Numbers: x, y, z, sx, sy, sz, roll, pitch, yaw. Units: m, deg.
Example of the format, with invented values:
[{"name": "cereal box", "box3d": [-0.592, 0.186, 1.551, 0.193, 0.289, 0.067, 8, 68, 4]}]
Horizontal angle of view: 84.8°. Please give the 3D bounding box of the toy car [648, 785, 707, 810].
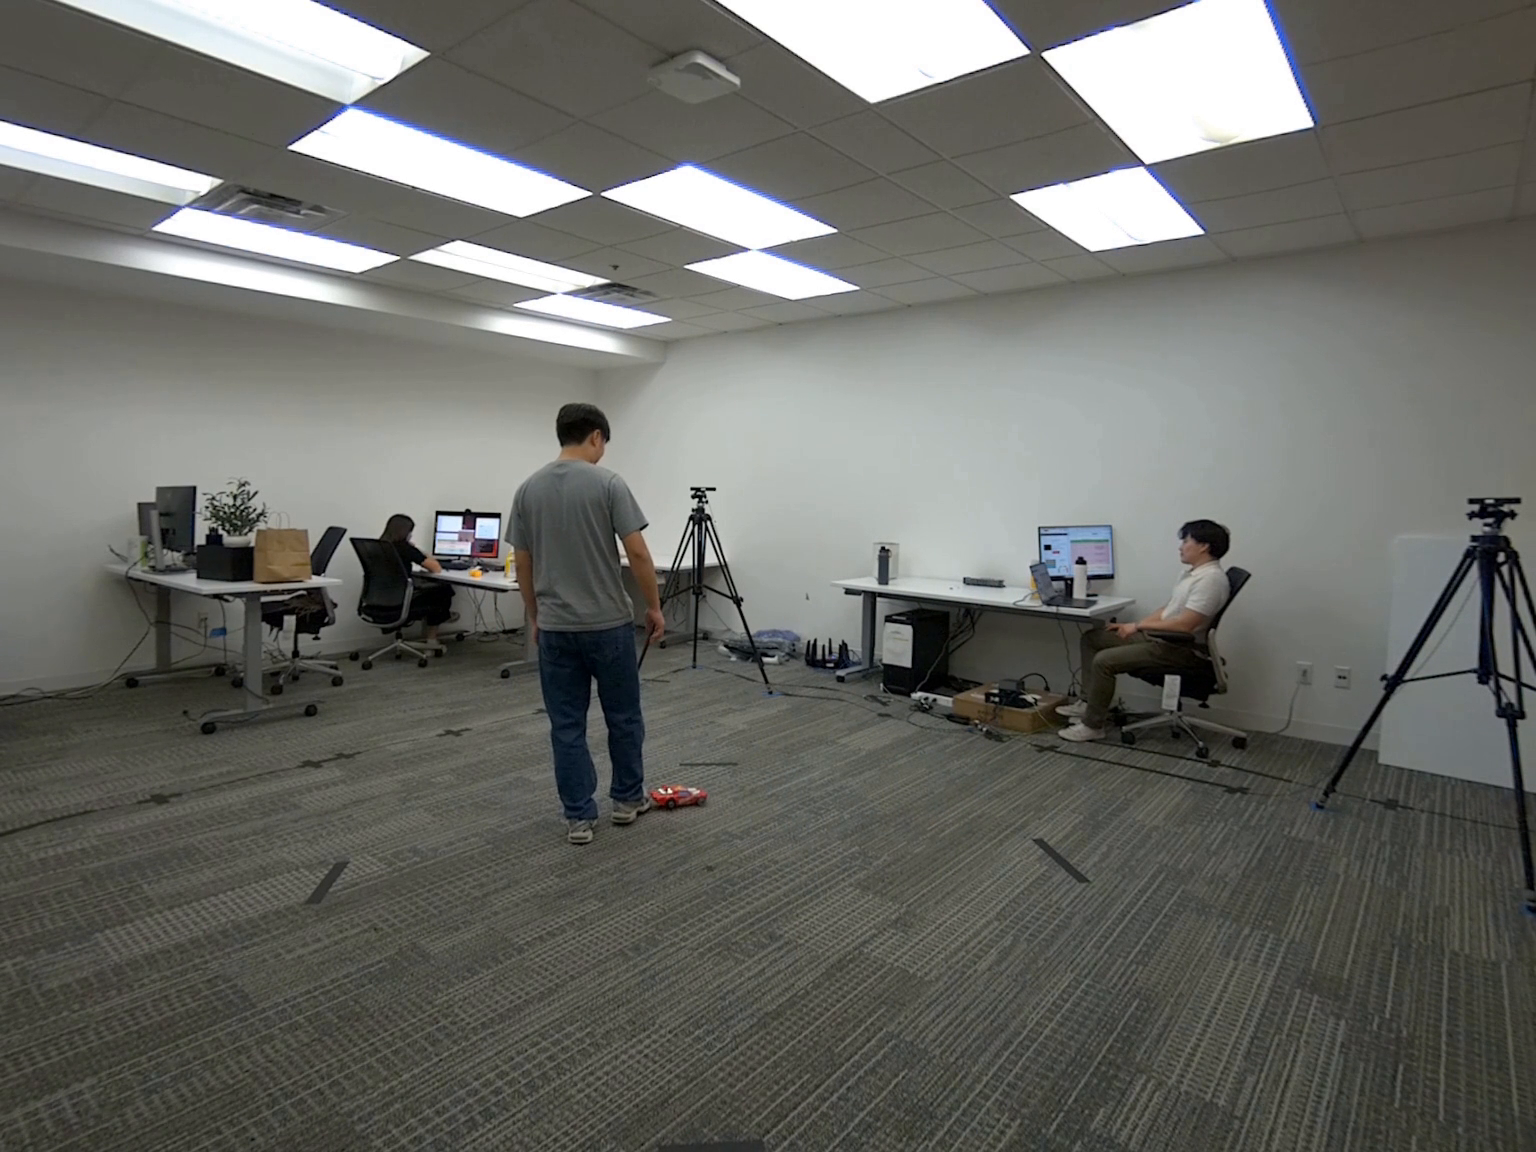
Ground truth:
[{"name": "toy car", "box3d": [-0.408, 0.967, 3.732, 0.248, 0.083, 0.133, 12, -3, -24]}]
